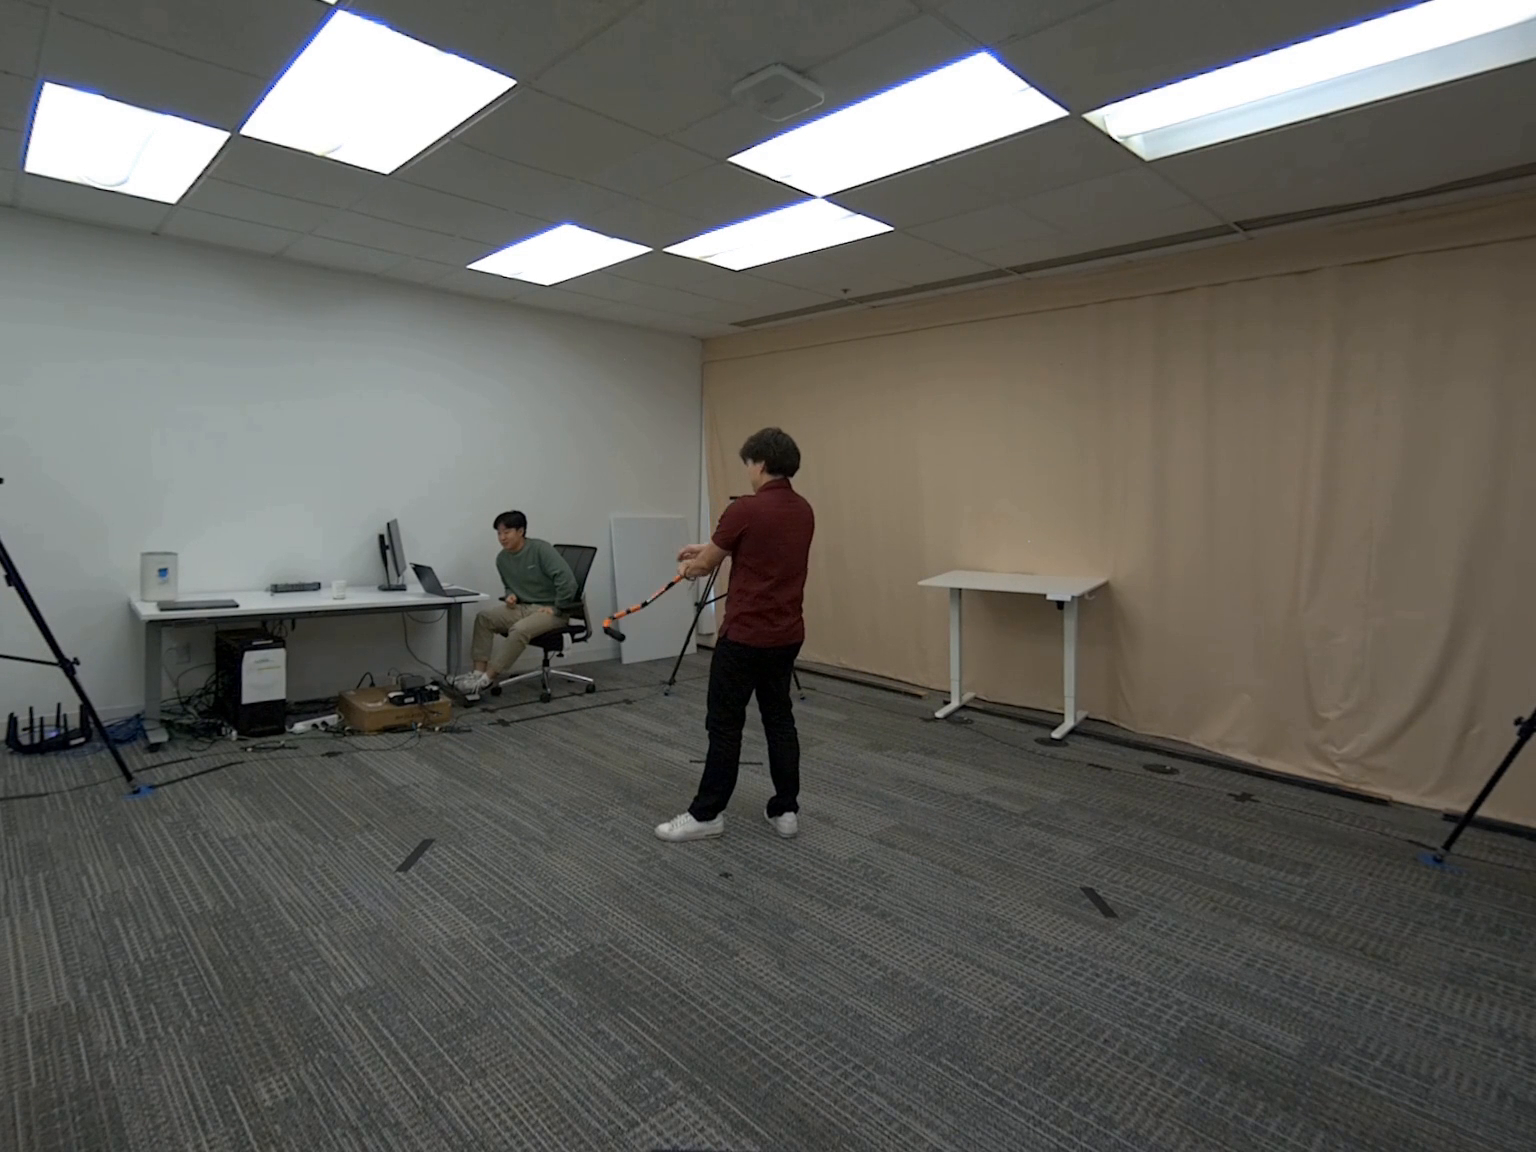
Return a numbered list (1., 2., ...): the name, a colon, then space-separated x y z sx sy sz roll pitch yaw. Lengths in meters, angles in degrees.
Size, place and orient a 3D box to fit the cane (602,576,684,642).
1. cane: -0.390 -0.012 3.746 0.212 0.148 0.904 22 48 37
